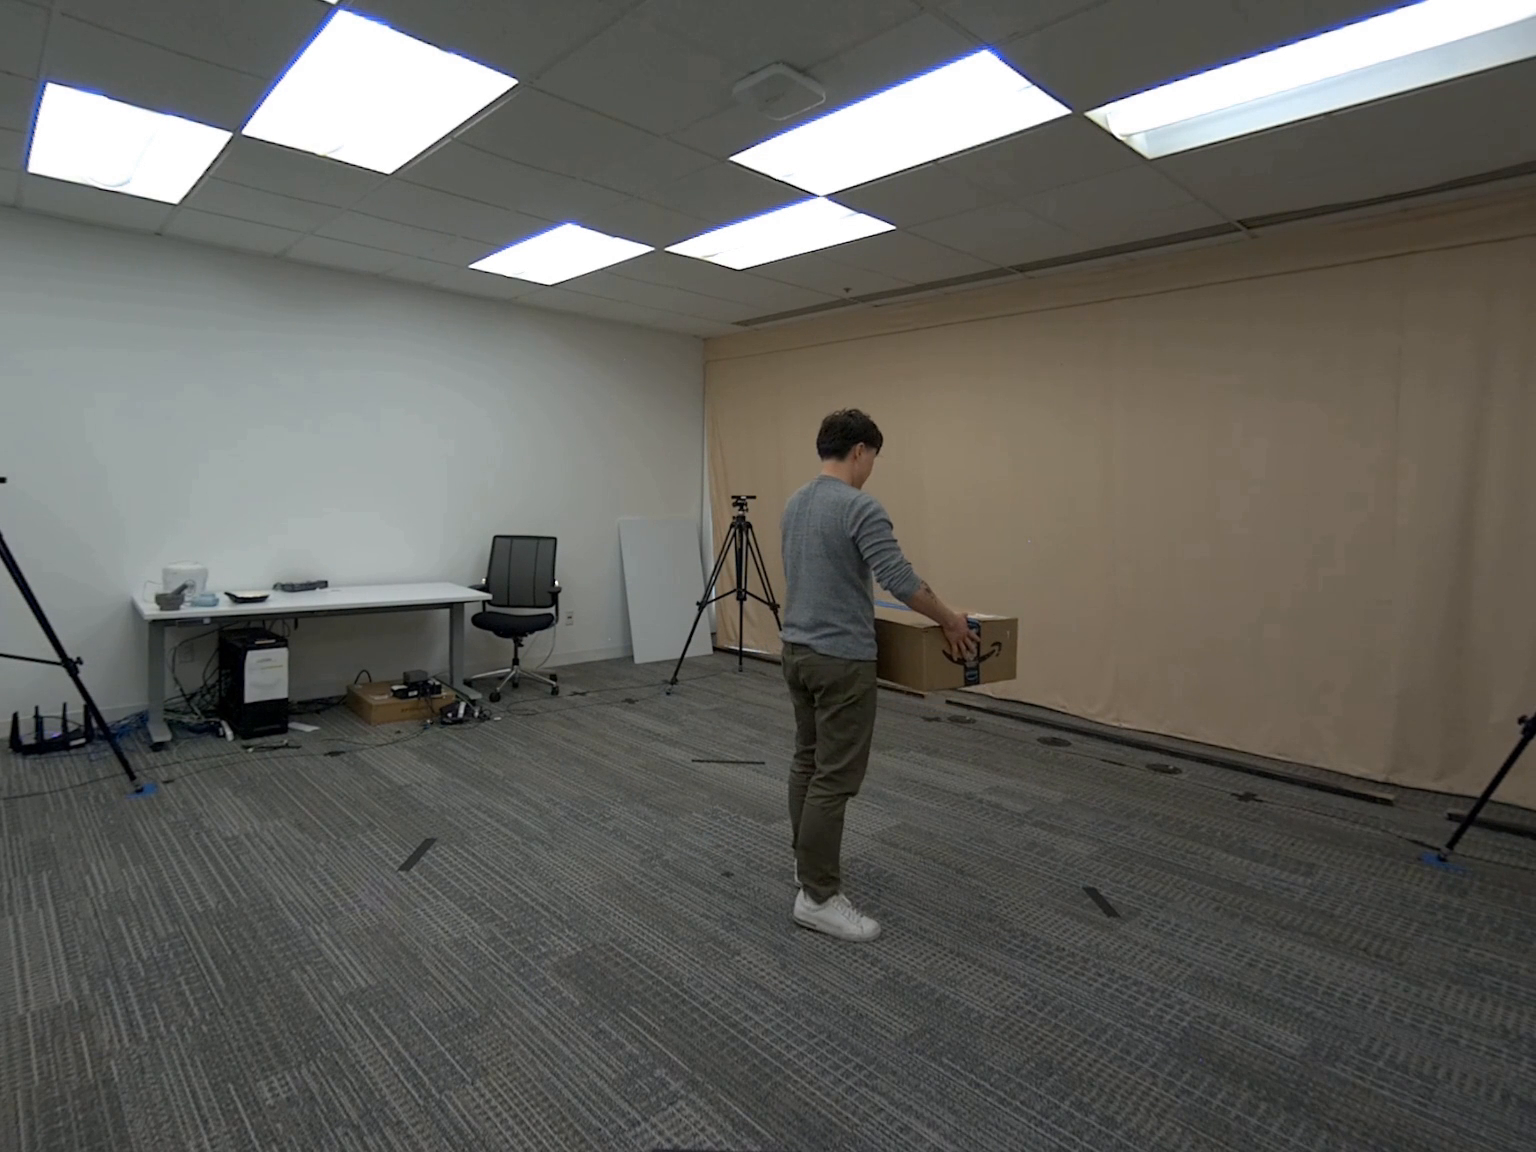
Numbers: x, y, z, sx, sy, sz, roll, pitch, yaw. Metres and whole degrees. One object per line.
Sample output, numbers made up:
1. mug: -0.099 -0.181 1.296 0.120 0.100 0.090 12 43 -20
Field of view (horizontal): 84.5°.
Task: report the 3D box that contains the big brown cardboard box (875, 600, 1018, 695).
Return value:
1. big brown cardboard box: 0.528 0.231 3.066 0.410 0.232 0.601 -4 5 -29
